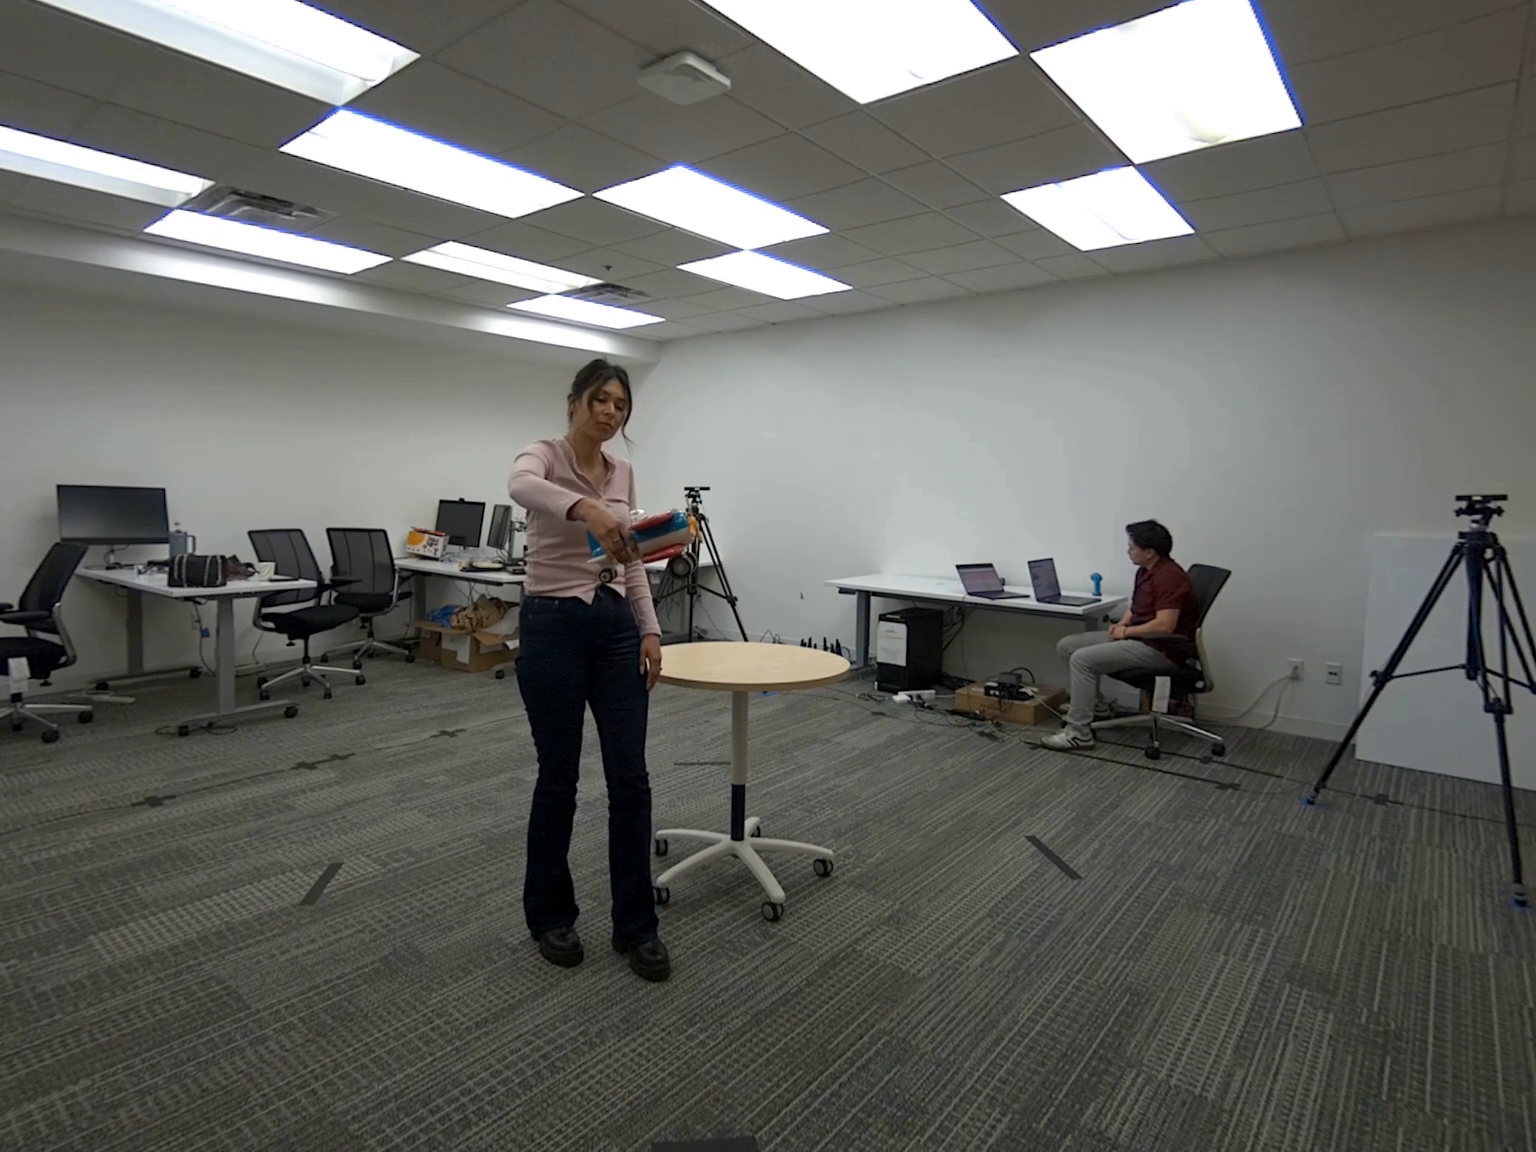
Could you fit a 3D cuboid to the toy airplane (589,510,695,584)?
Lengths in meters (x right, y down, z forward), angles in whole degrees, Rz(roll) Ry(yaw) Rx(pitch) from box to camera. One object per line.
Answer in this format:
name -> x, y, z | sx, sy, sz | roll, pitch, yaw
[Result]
toy airplane -> -0.289, -0.063, 1.930 | 0.254, 0.155, 0.257 | -7, 8, -21
